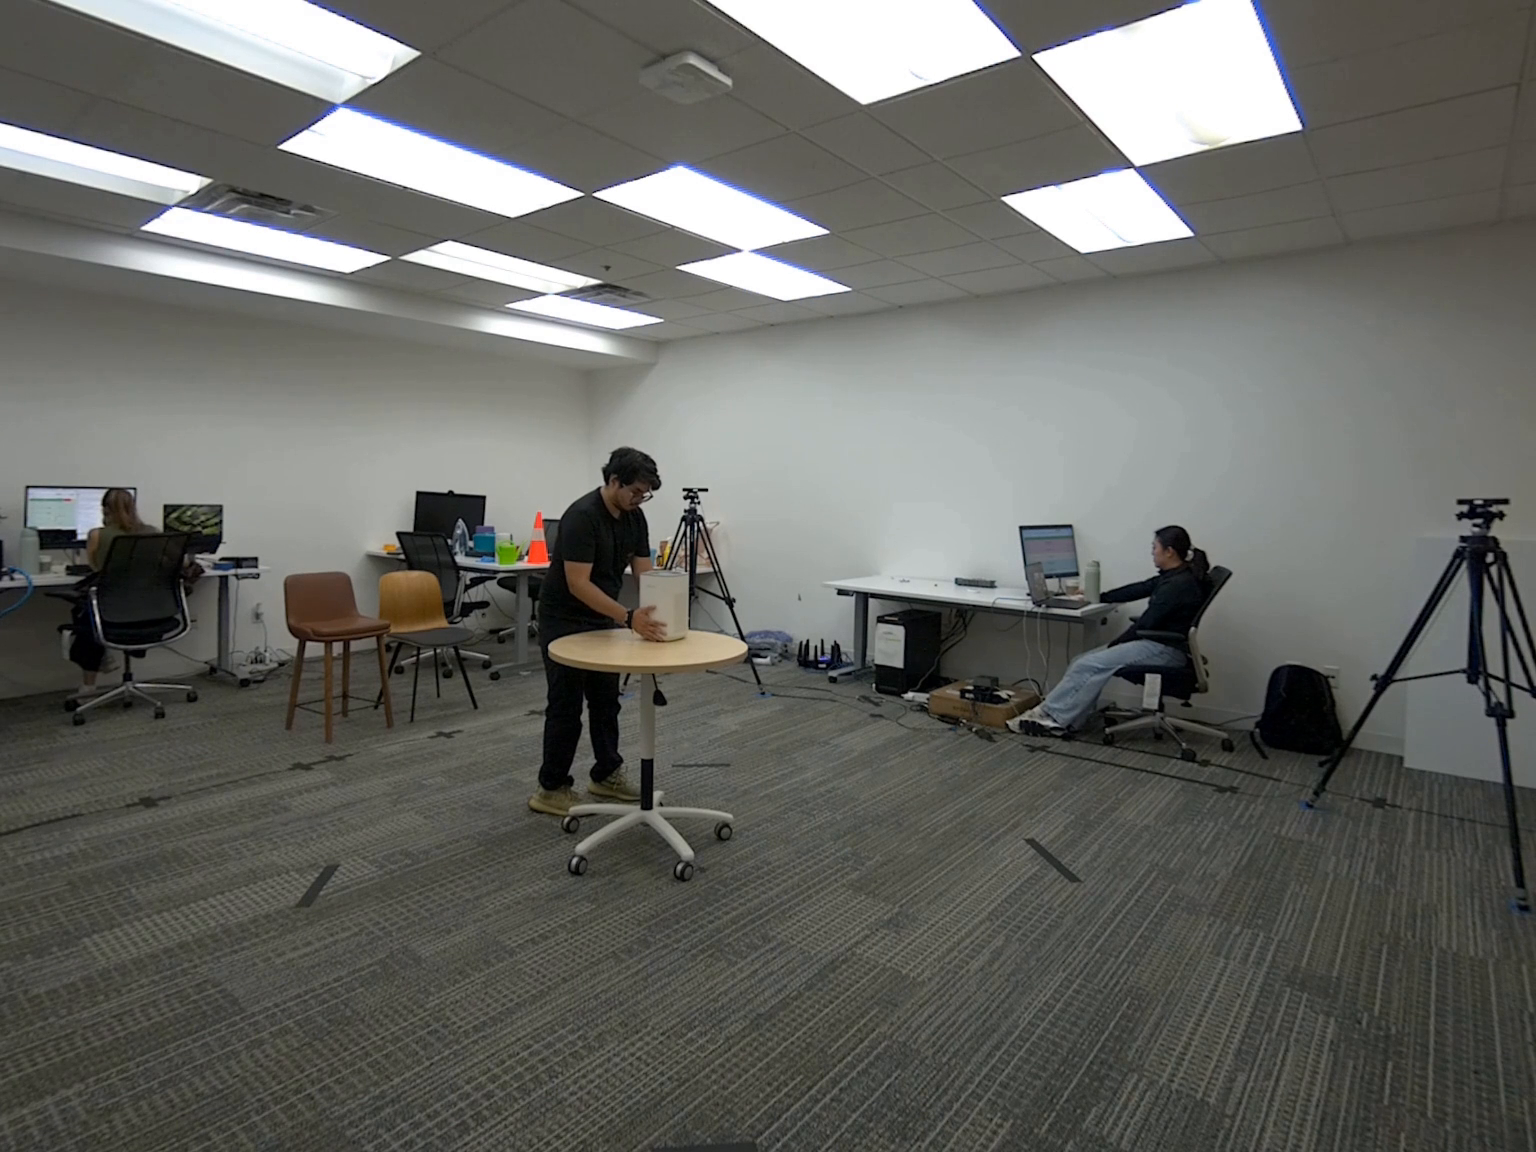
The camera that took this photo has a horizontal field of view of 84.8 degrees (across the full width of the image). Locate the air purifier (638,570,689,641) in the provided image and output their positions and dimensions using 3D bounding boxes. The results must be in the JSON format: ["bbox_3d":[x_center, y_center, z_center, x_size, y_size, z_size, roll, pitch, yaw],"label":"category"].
[{"bbox_3d":[-0.436,0.119,3.432,0.176,0.265,0.167,3,4,29],"label":"air purifier"}]
